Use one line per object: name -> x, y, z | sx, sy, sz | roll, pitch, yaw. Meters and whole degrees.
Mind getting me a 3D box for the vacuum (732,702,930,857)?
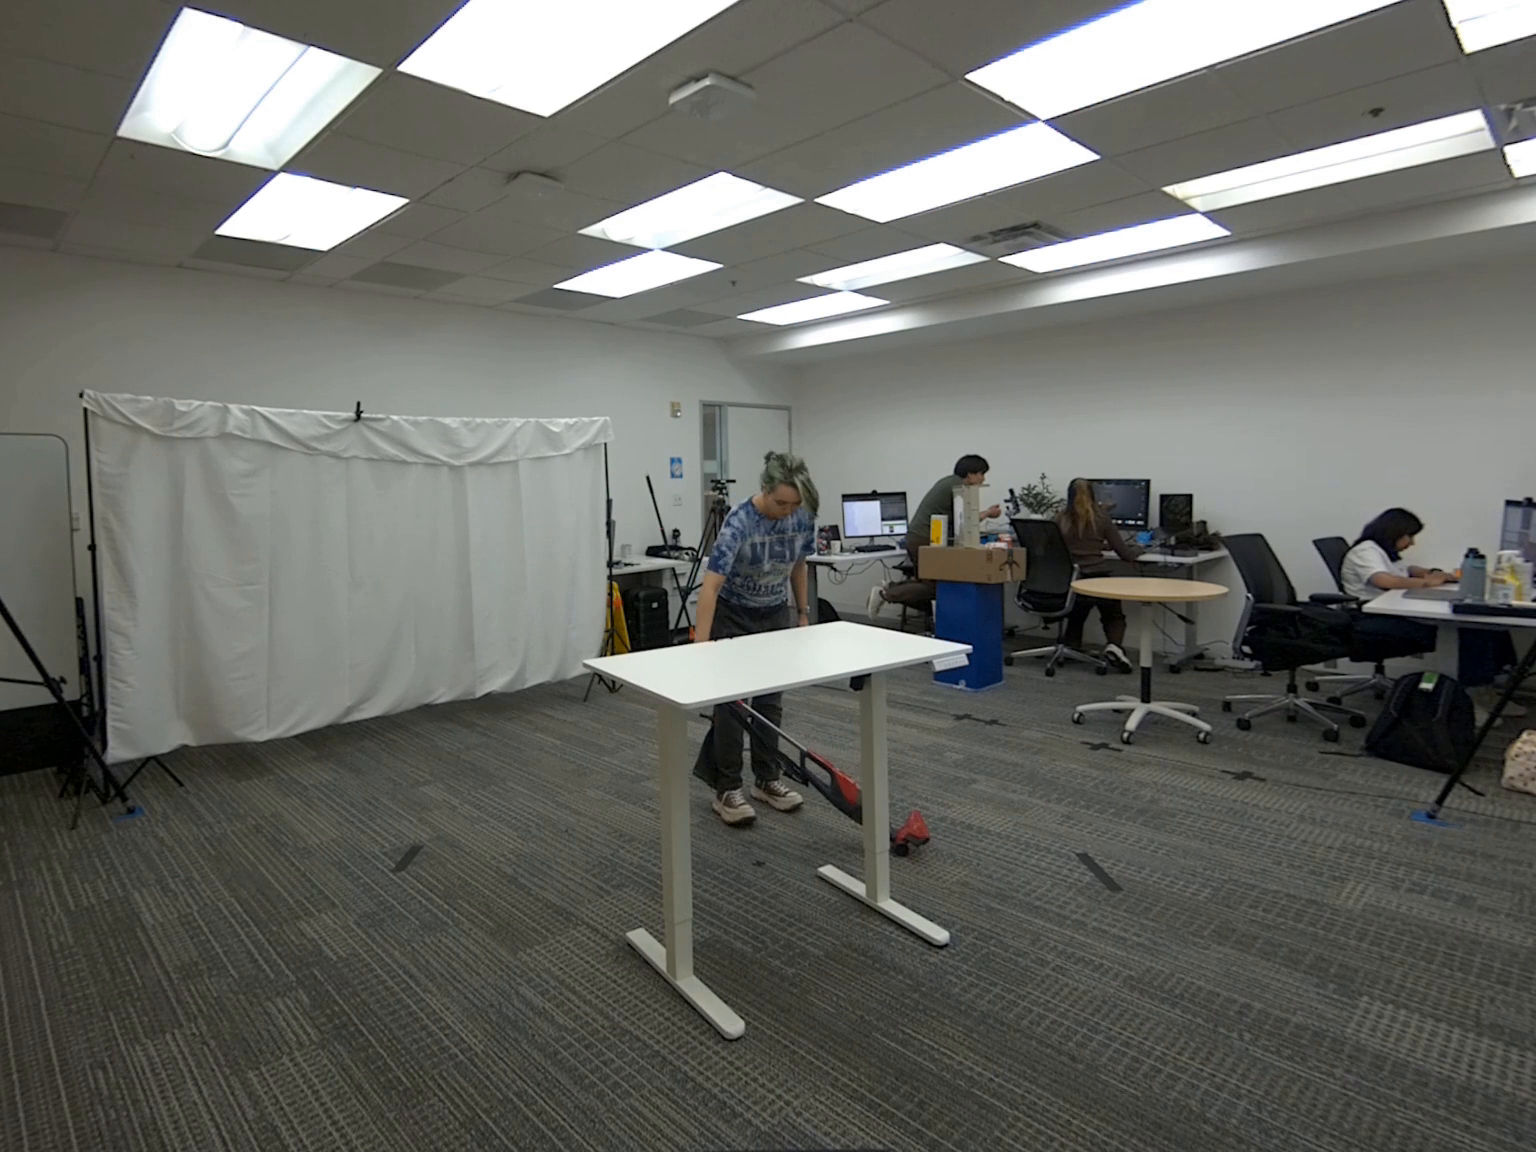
vacuum -> 0.111, 0.691, 3.222 | 1.053, 0.144, 0.252 | 34, 7, 3
